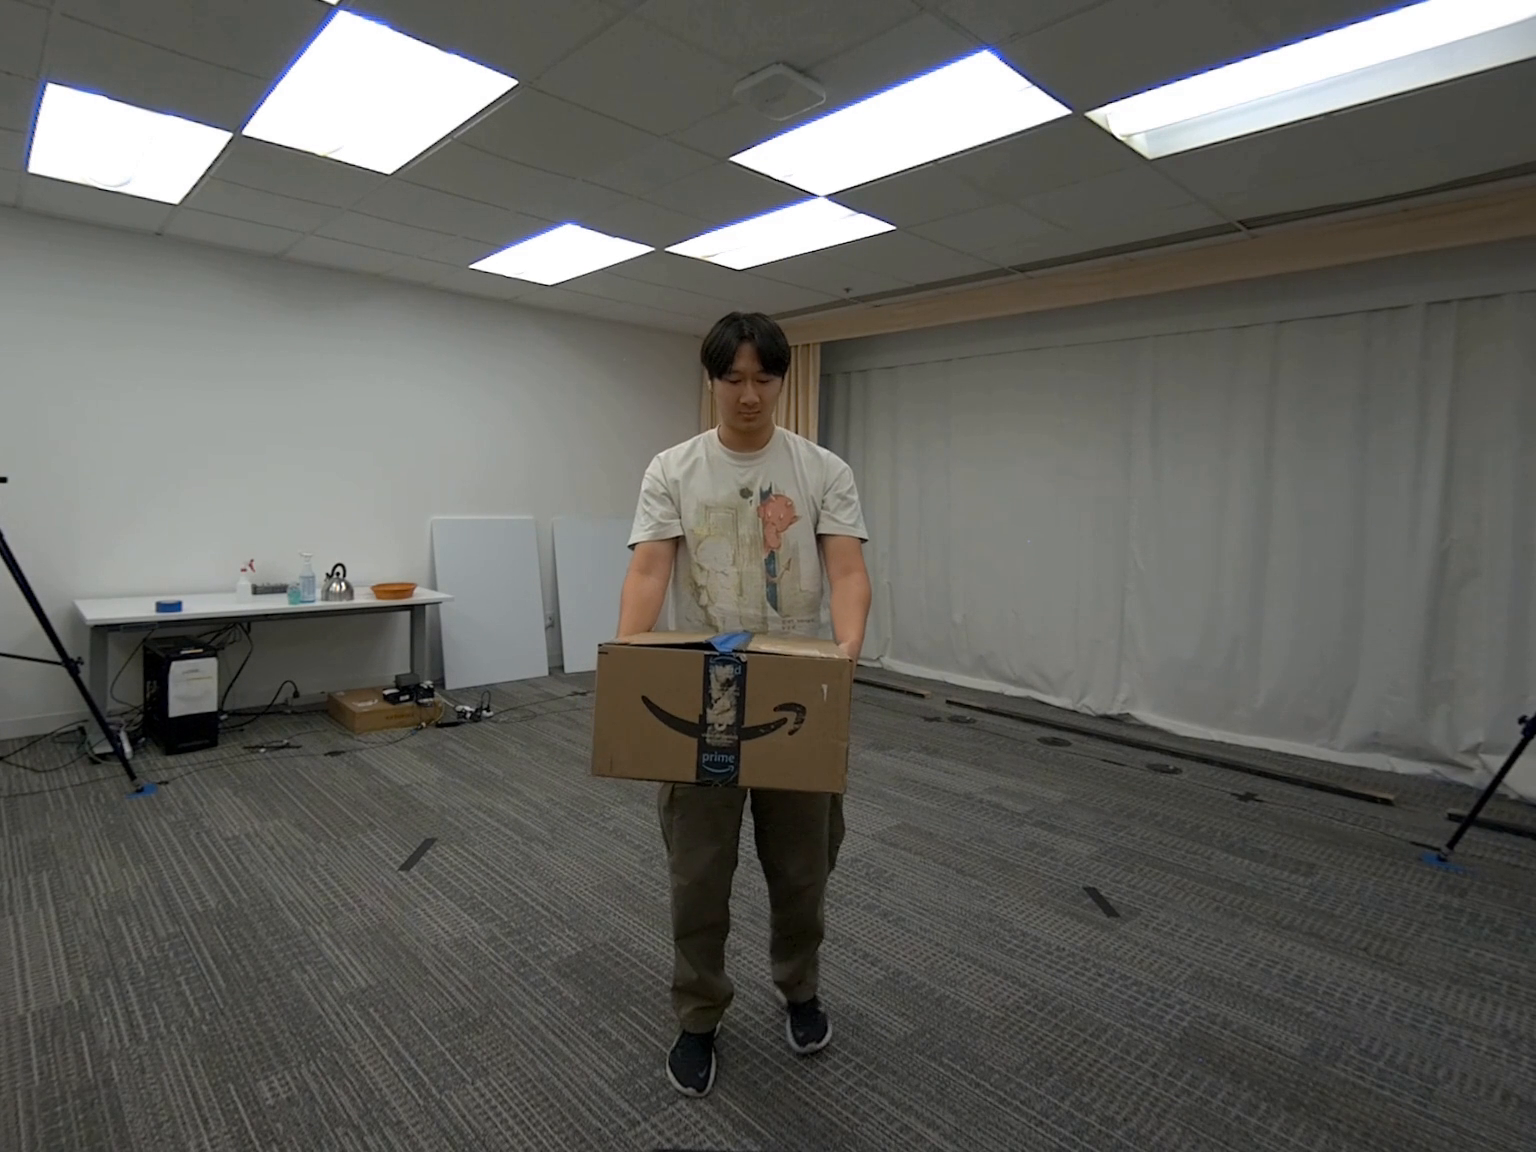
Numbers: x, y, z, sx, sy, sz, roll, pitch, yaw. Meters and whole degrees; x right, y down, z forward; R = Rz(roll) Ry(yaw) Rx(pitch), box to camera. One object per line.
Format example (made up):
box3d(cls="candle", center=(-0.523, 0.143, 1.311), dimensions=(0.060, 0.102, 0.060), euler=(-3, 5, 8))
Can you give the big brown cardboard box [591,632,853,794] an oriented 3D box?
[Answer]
box3d(cls="big brown cardboard box", center=(-0.075, 0.237, 1.622), dimensions=(0.419, 0.234, 0.586), euler=(3, -3, 2))
